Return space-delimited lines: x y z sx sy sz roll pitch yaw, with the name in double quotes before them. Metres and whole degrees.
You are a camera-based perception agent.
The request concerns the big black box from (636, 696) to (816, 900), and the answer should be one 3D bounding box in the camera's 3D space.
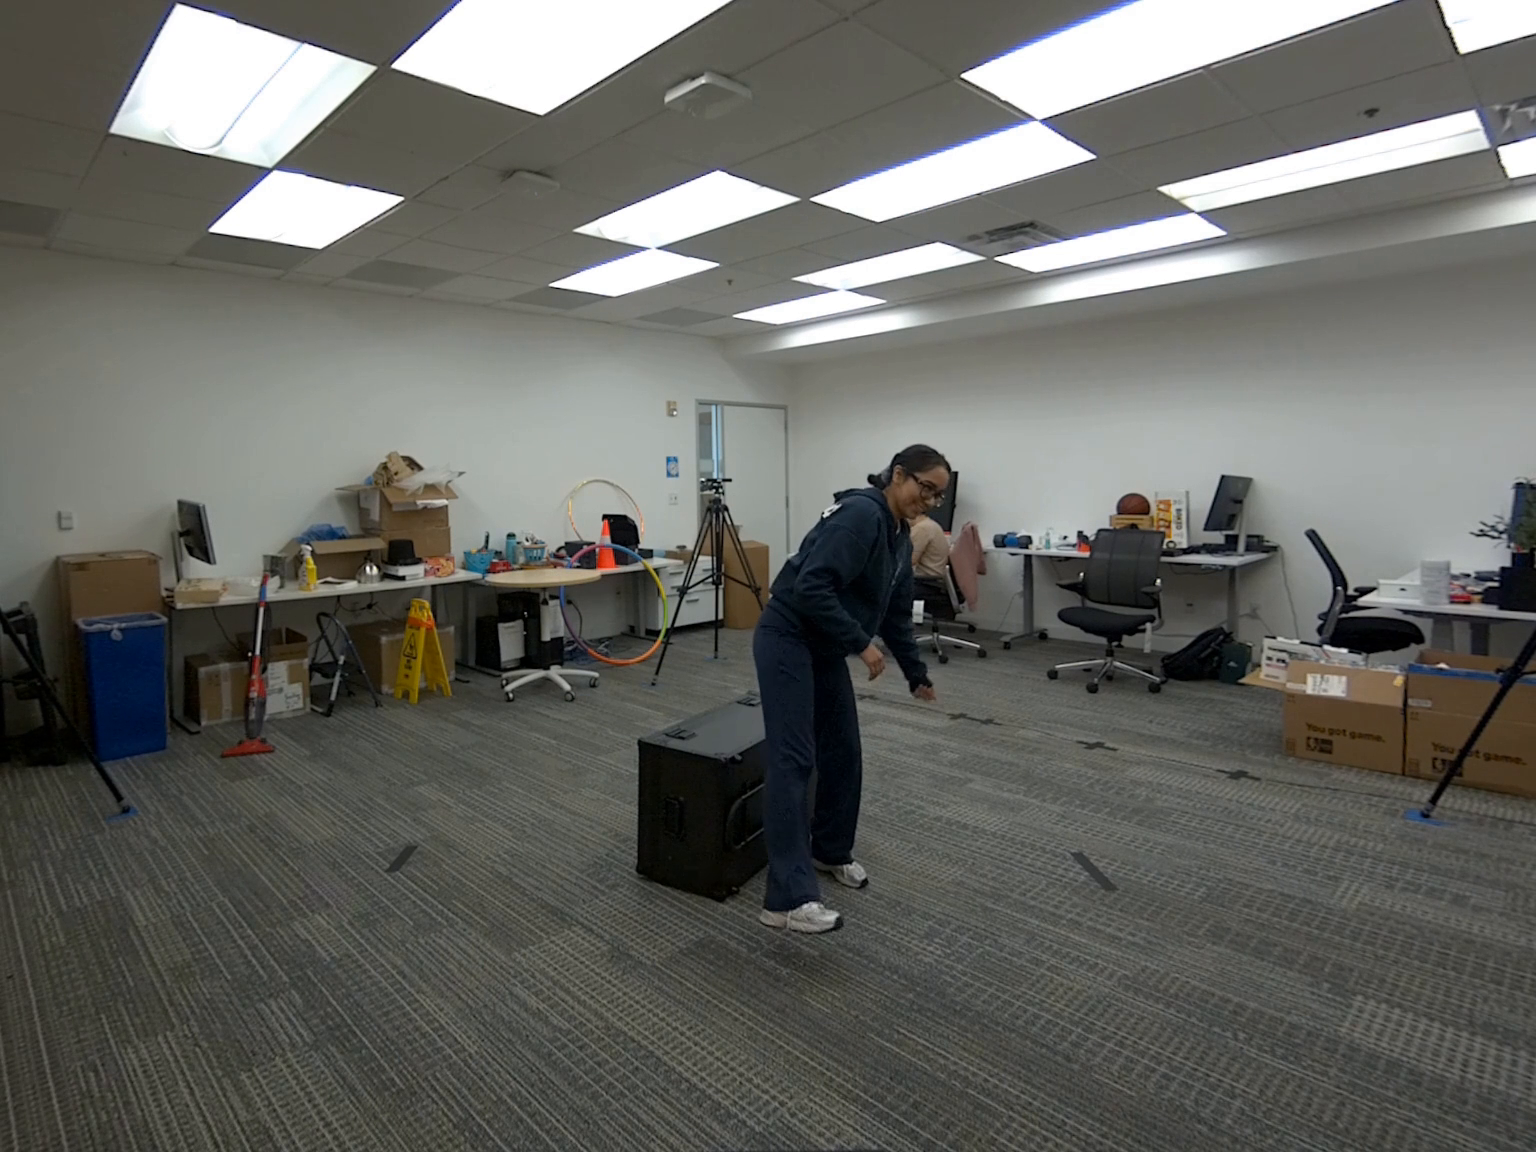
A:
"big black box" -0.084 0.774 3.236 0.407 0.518 0.843 4 8 29
